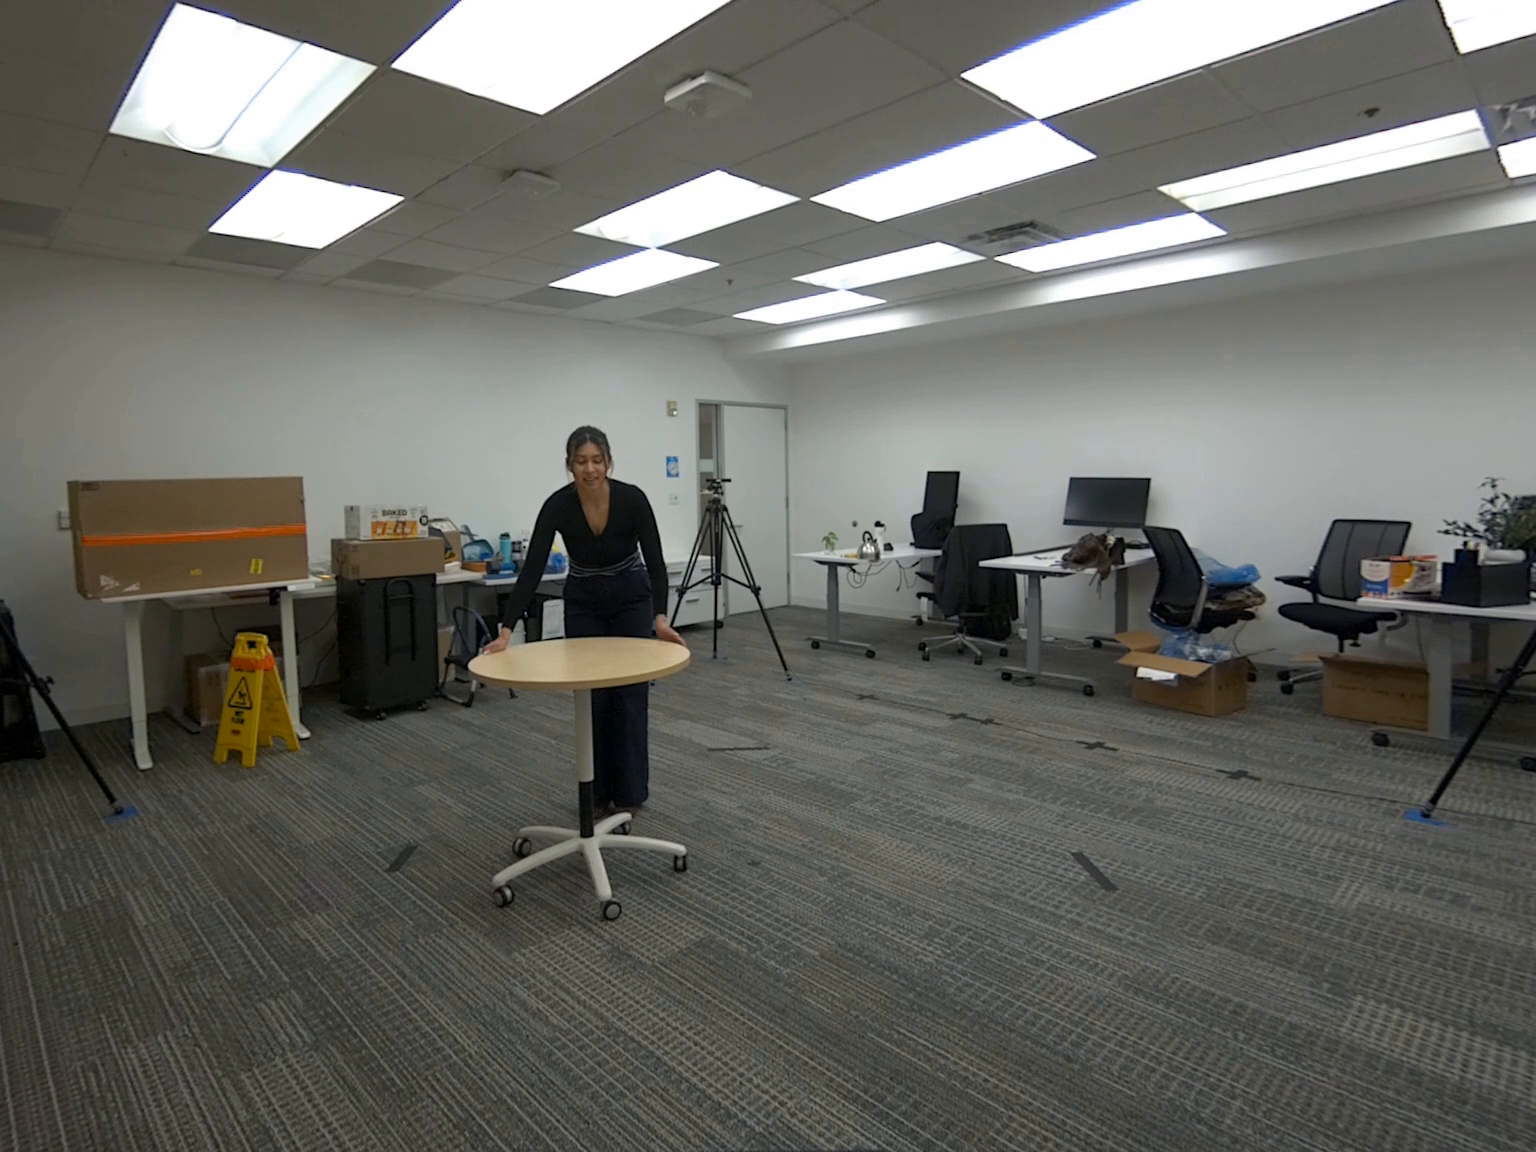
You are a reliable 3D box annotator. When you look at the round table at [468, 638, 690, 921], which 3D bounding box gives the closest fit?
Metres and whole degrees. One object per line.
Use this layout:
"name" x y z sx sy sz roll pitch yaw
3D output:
"round table" -0.650 0.678 3.021 0.763 0.791 0.768 -2 4 -2
